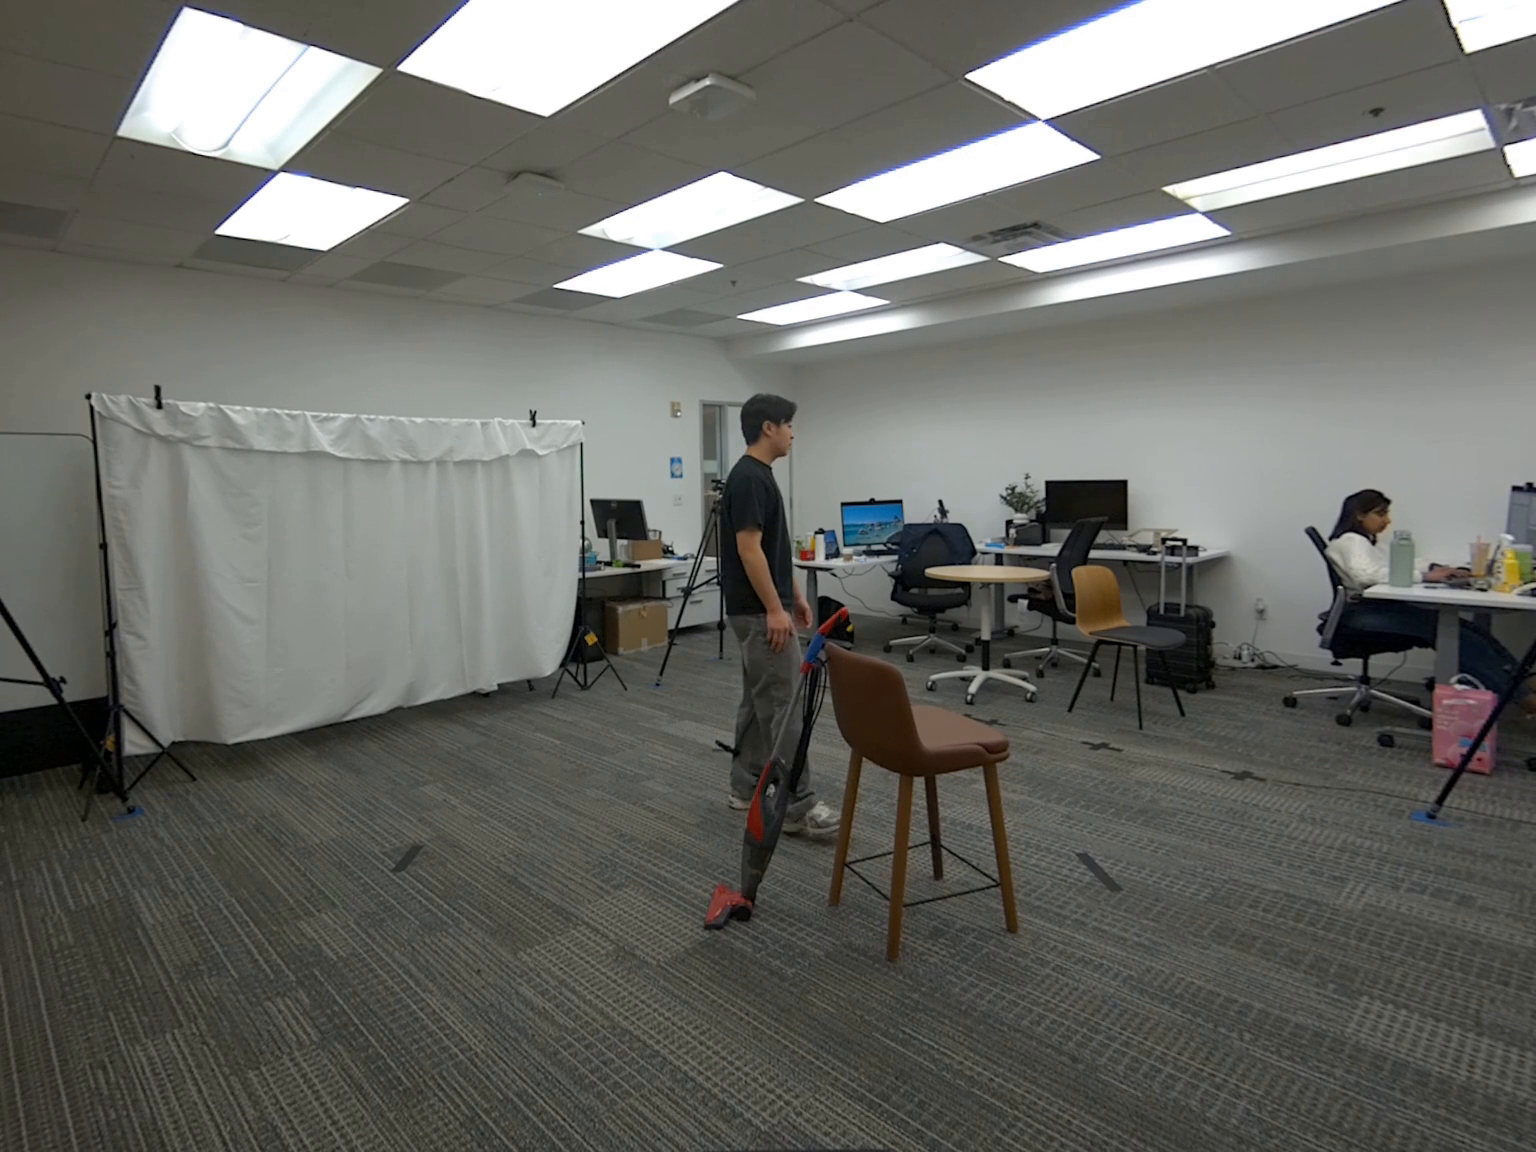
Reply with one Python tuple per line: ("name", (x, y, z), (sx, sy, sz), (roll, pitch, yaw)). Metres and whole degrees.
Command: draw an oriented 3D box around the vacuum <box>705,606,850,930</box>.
("vacuum", (0.057, 0.598, 2.716), (0.144, 1.046, 0.252), (19, 5, 1))
